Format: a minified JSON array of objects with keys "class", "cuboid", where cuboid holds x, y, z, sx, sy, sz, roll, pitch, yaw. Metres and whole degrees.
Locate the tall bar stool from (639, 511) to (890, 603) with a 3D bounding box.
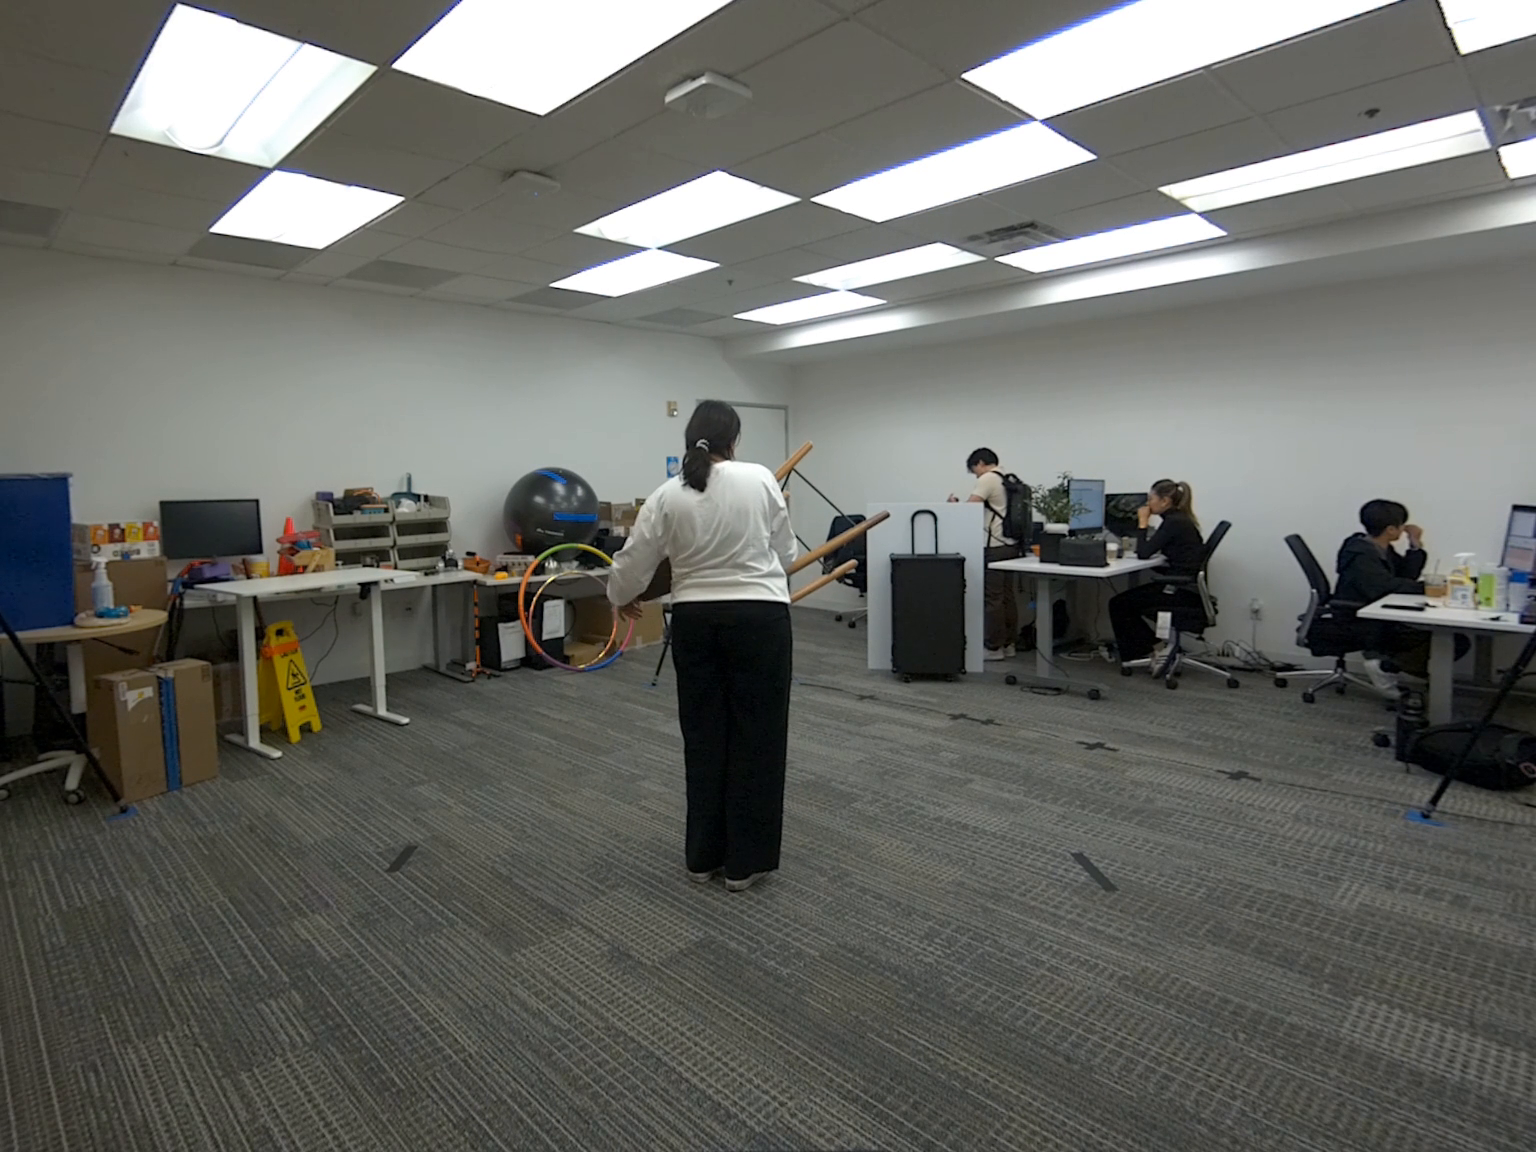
[{"class":"tall bar stool","cuboid":[-0.035,-0.079,3.327,0.882,0.478,0.450,-34,-18,-31]}]
